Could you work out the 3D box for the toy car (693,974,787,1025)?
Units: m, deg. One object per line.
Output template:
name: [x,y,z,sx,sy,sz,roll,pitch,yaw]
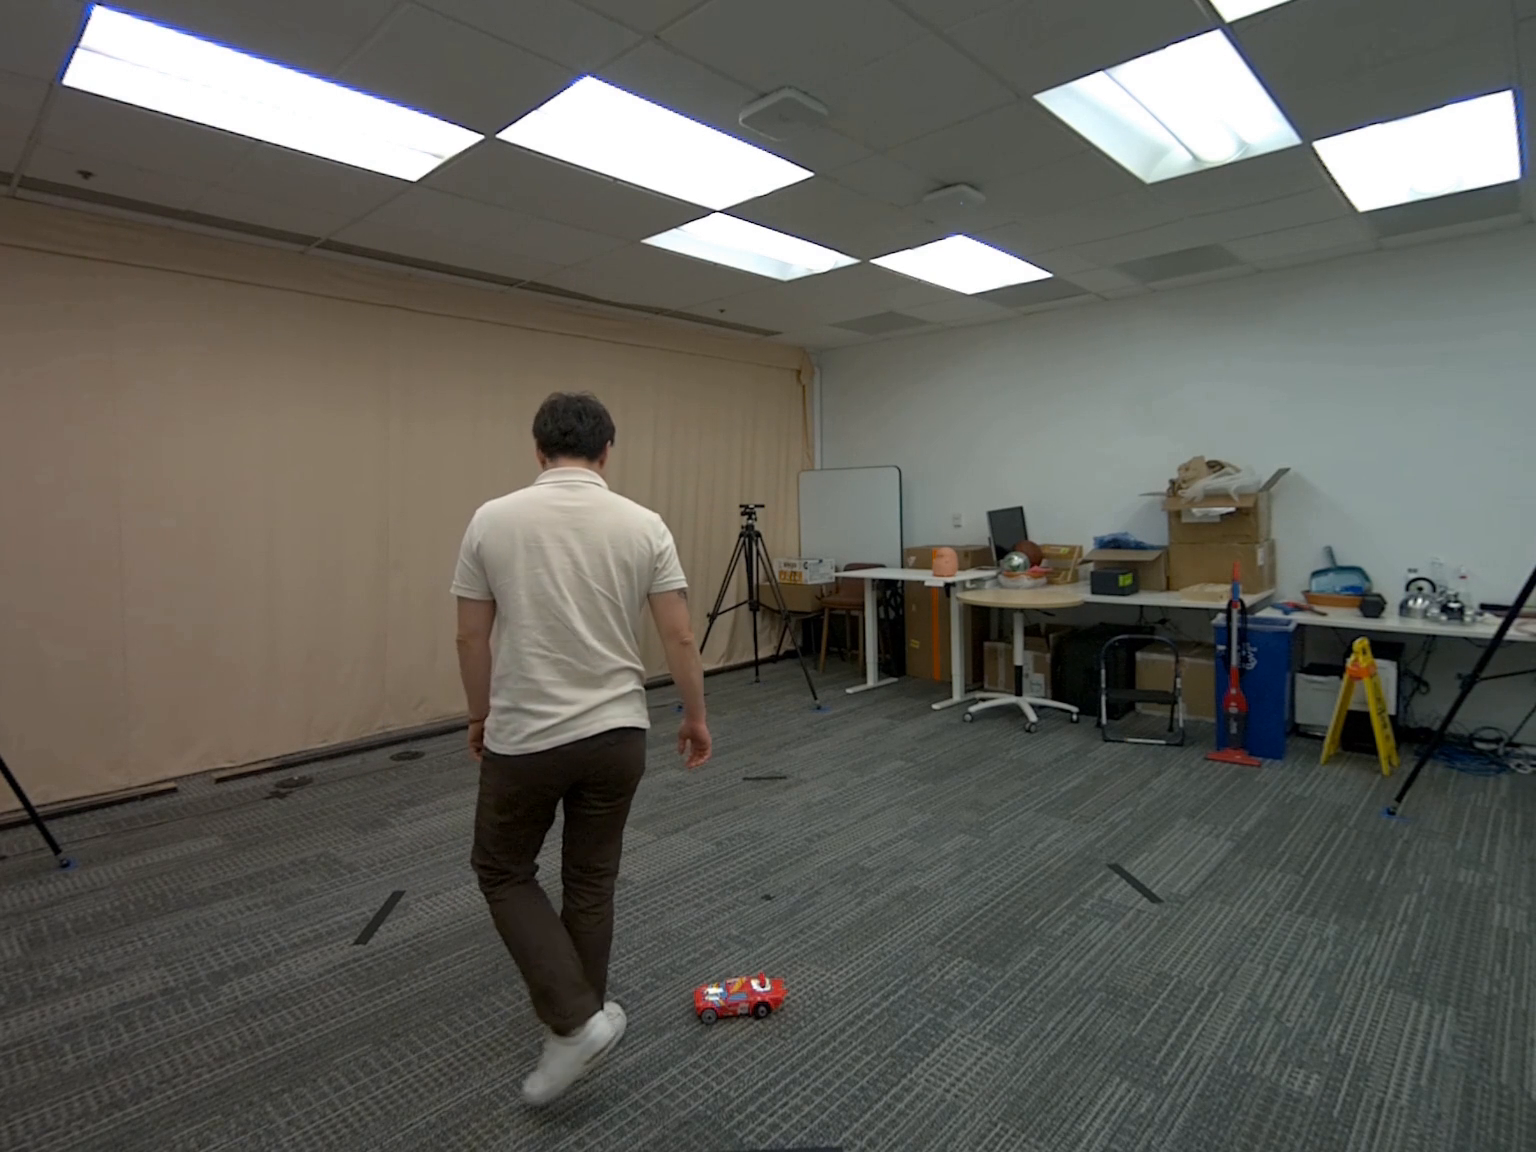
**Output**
toy car: [-0.071,1.168,2.320,0.253,0.083,0.131,-12,6,-6]
